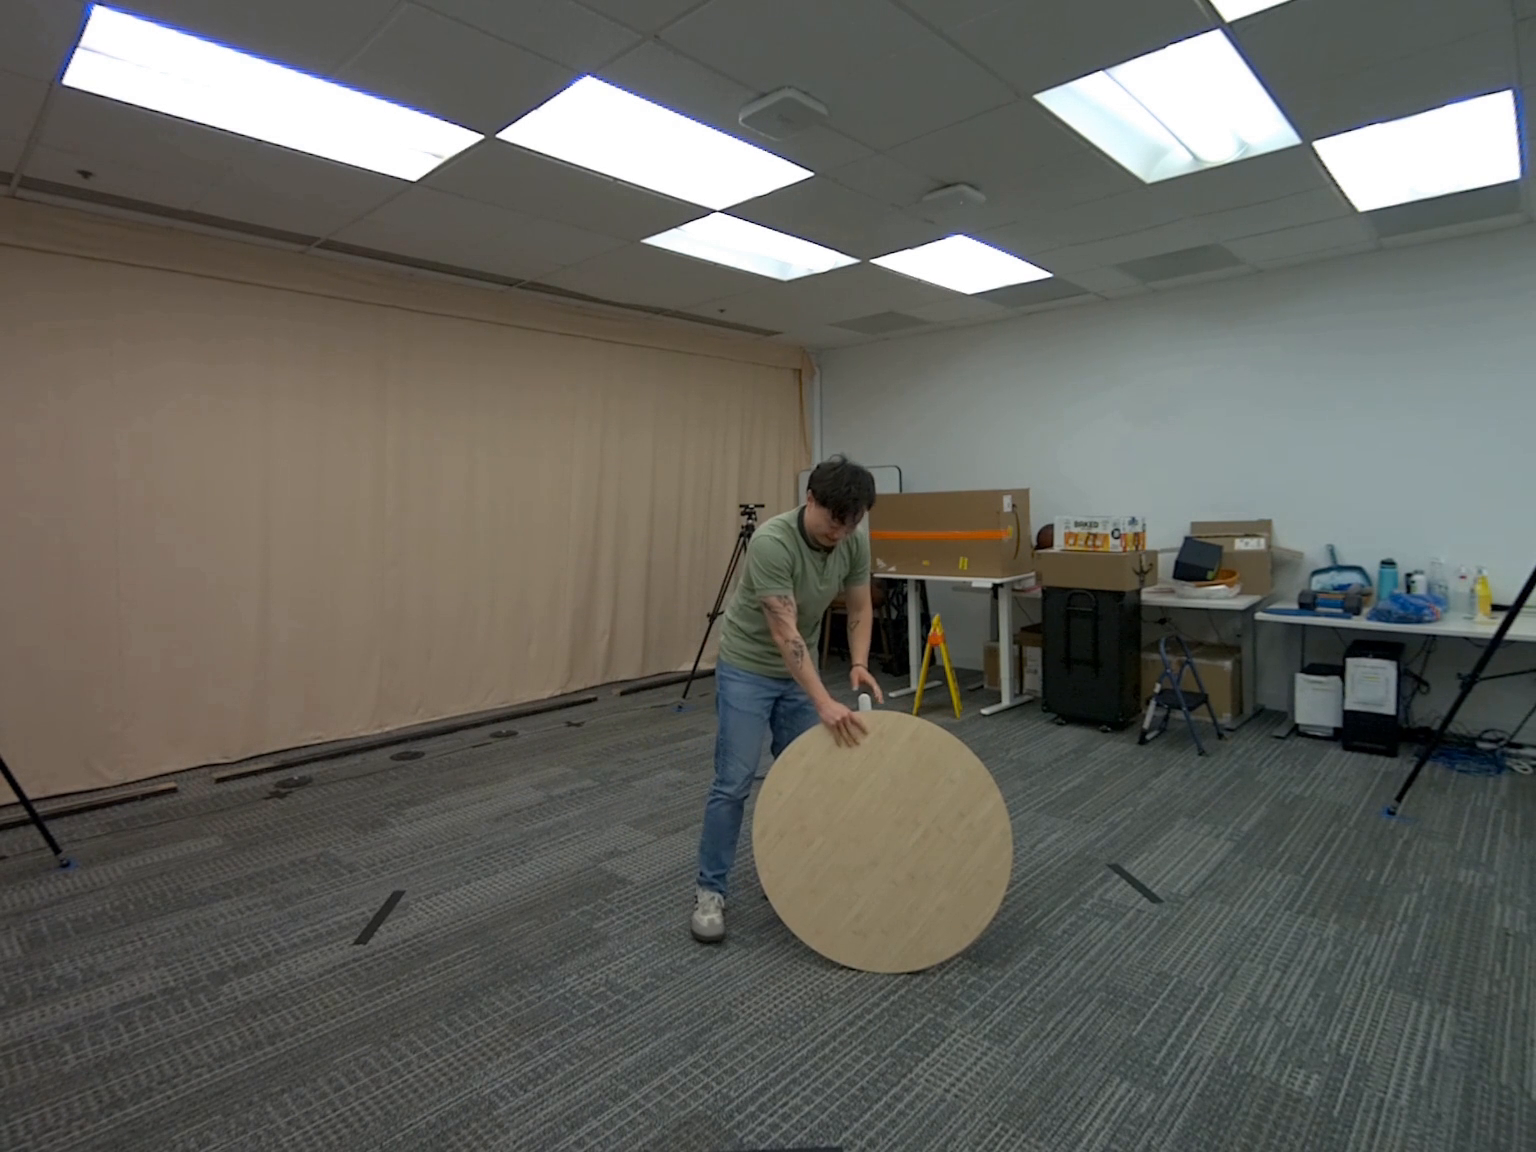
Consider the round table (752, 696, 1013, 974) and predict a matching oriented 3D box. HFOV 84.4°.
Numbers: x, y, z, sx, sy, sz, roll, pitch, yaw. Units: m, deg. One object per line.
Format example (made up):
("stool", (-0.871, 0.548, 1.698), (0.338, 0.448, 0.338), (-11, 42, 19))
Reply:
("round table", (0.371, 0.806, 2.903), (0.770, 0.765, 0.786), (0, -2, 7))
